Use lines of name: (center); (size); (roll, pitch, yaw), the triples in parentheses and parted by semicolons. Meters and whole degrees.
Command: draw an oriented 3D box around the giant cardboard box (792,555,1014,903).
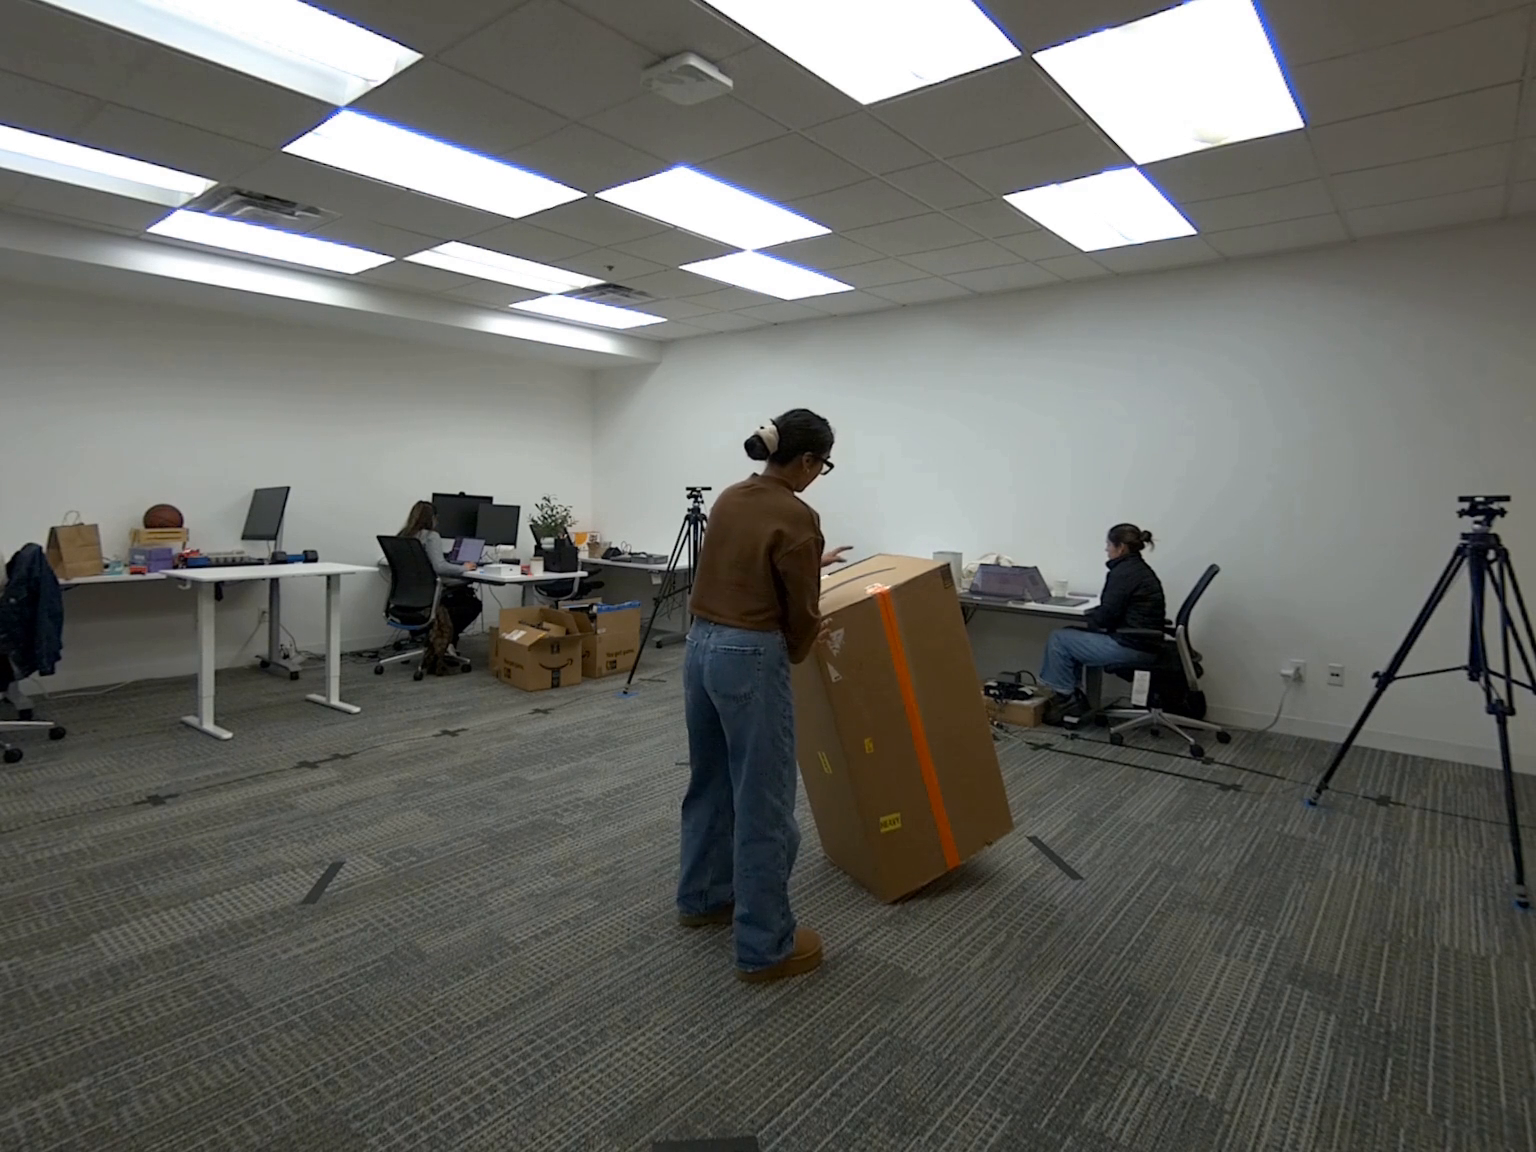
giant cardboard box: (0.410, 0.509, 3.066); (0.576, 1.016, 0.458); (-20, 10, -23)
